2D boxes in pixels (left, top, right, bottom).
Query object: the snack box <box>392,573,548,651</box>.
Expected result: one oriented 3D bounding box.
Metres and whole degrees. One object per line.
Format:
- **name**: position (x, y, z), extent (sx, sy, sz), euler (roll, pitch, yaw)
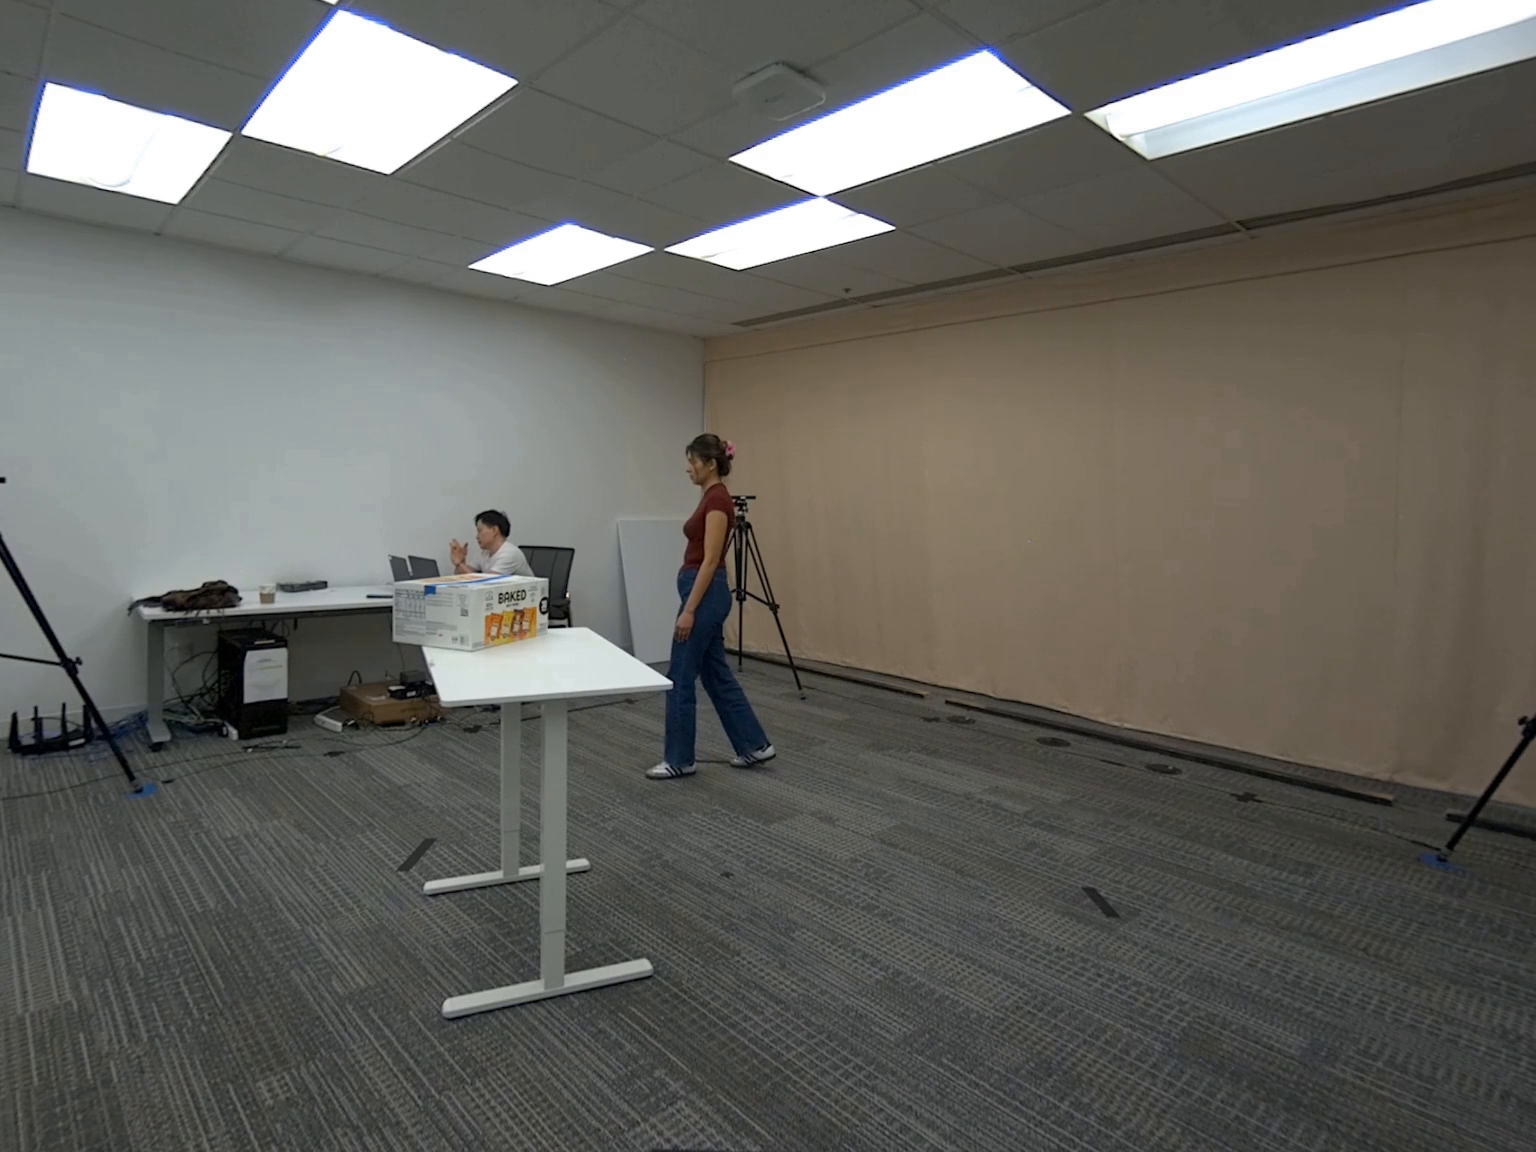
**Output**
- **snack box**: position (-1.033, 0.118, 2.922), extent (0.346, 0.205, 0.399), euler (3, 5, 22)
